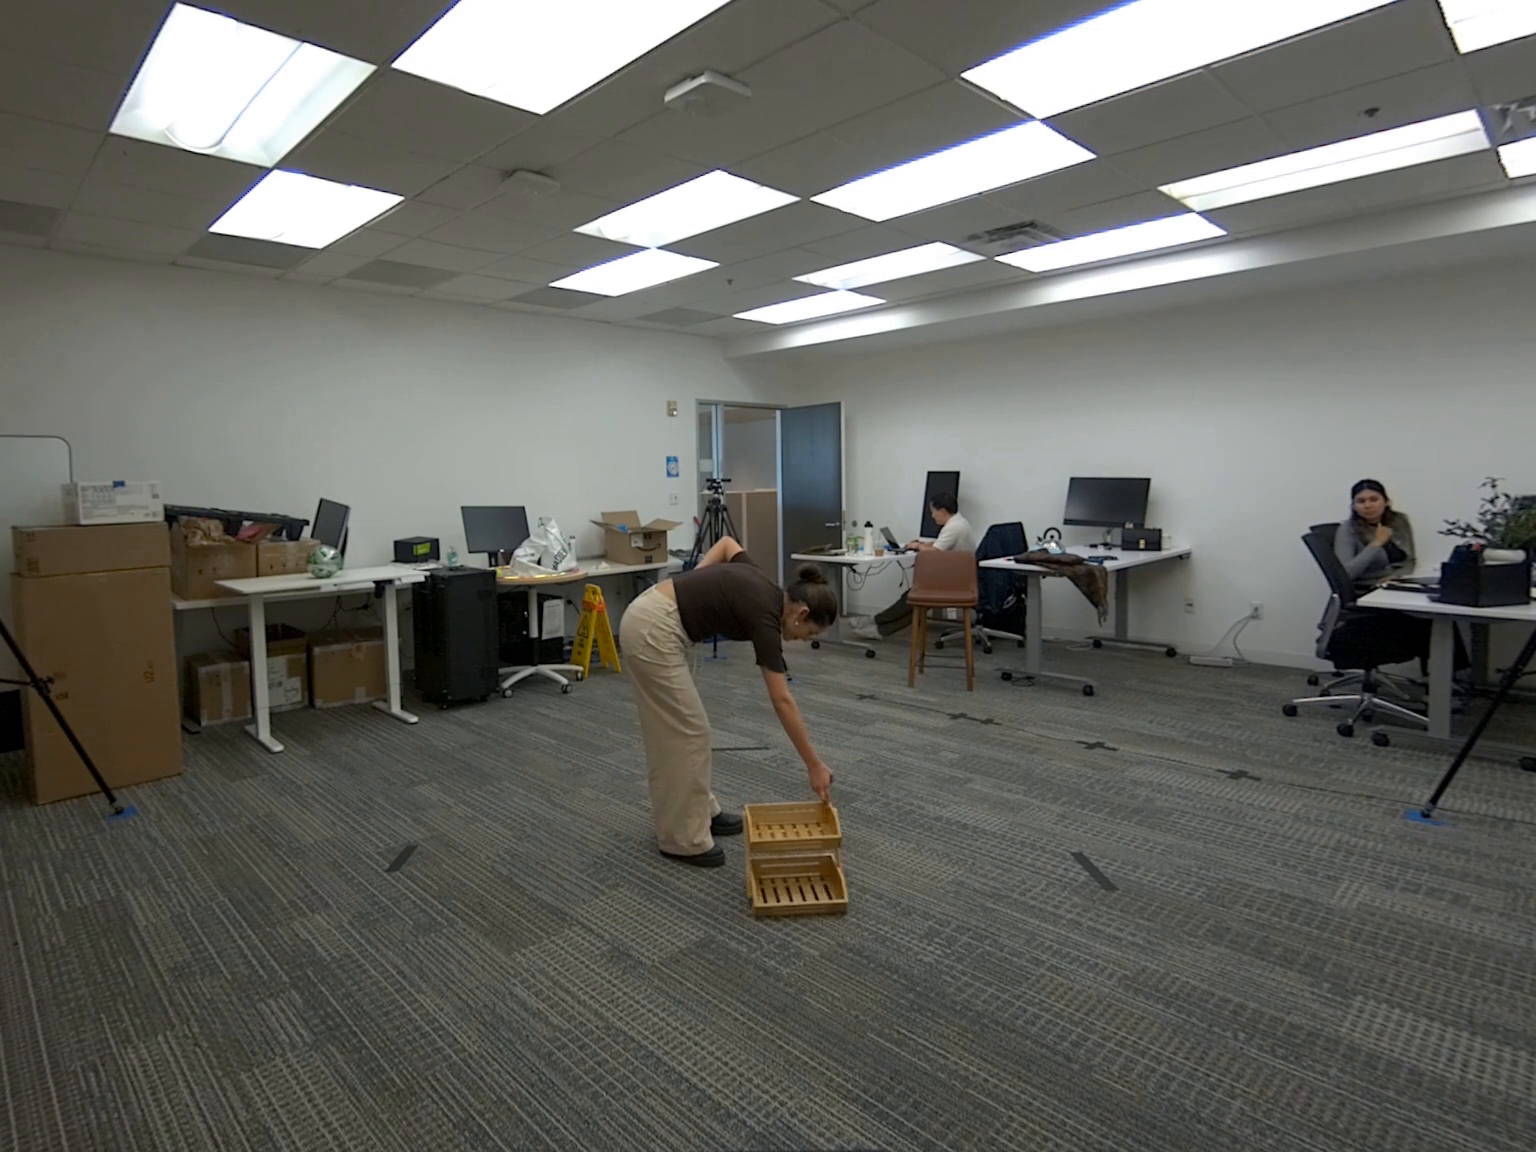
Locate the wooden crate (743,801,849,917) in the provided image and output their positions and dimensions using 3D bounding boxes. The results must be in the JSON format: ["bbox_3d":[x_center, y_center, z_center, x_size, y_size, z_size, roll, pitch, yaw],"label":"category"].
[{"bbox_3d":[0.090,0.937,2.849,0.323,0.272,0.305,-2,4,-7],"label":"wooden crate"}]
